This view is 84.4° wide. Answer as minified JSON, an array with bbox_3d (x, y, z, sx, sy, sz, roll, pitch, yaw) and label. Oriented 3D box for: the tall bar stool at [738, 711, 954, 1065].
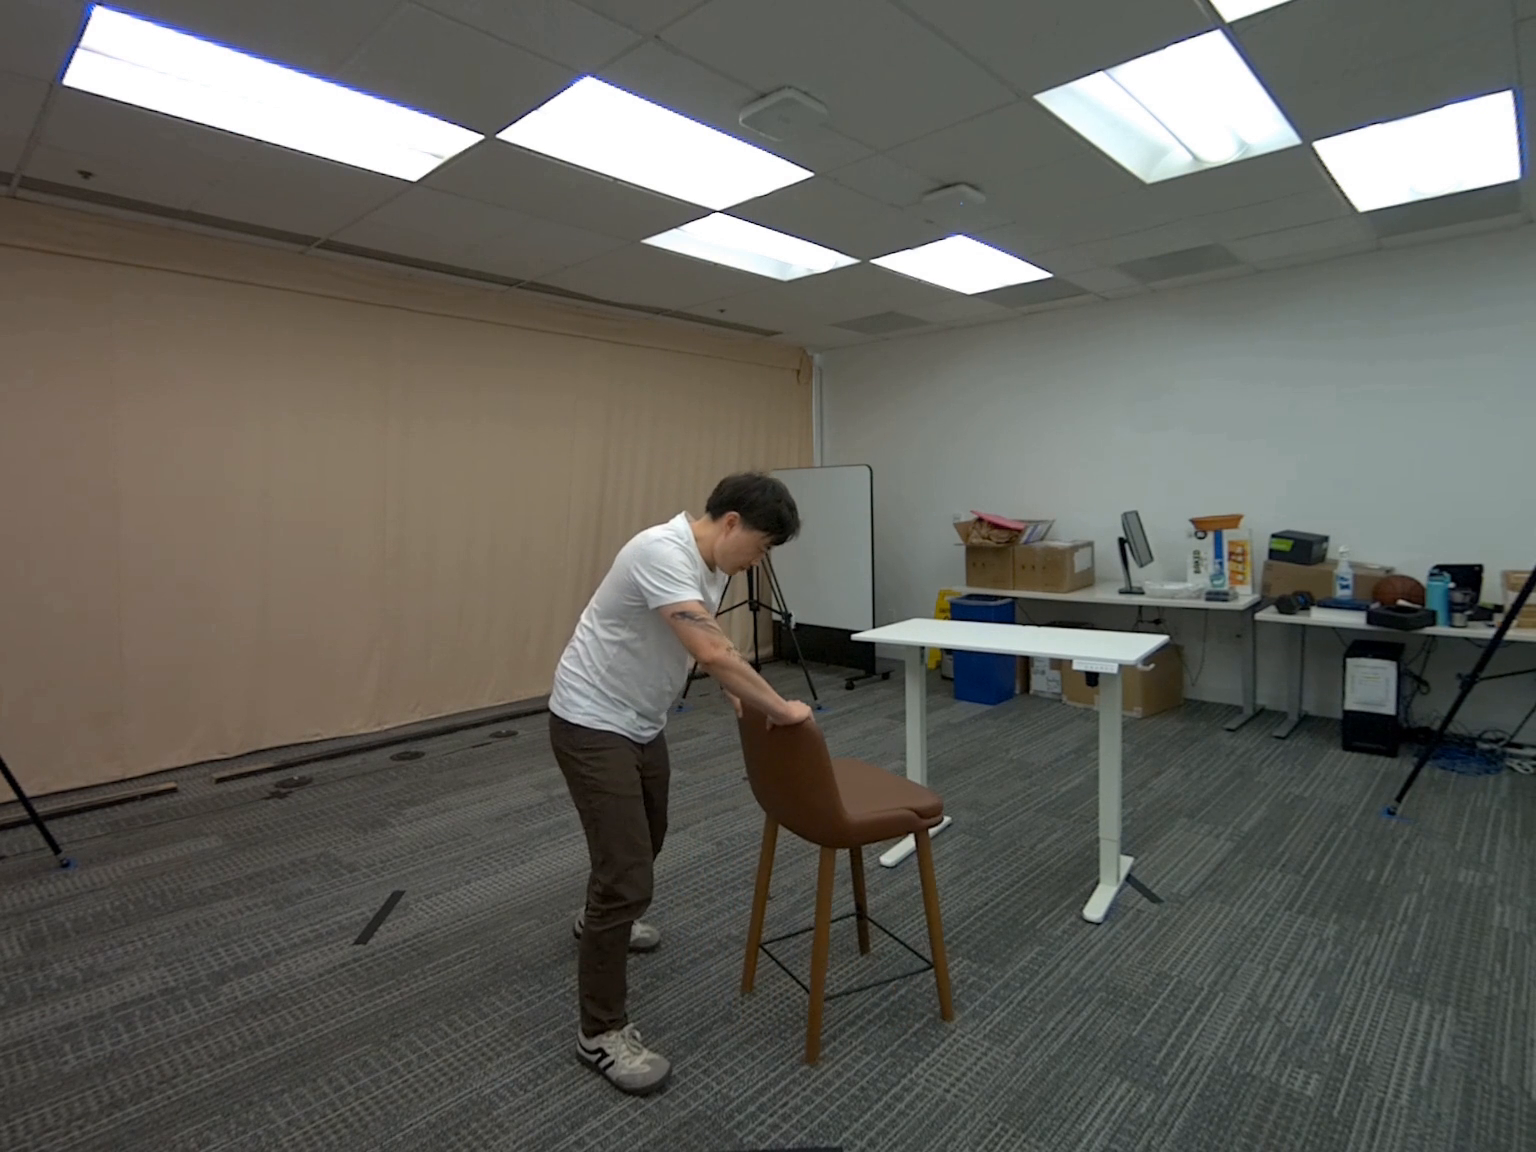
[{"bbox_3d":[0.198,0.756,2.318,0.456,0.887,0.469,-5,5,-28],"label":"tall bar stool"}]
